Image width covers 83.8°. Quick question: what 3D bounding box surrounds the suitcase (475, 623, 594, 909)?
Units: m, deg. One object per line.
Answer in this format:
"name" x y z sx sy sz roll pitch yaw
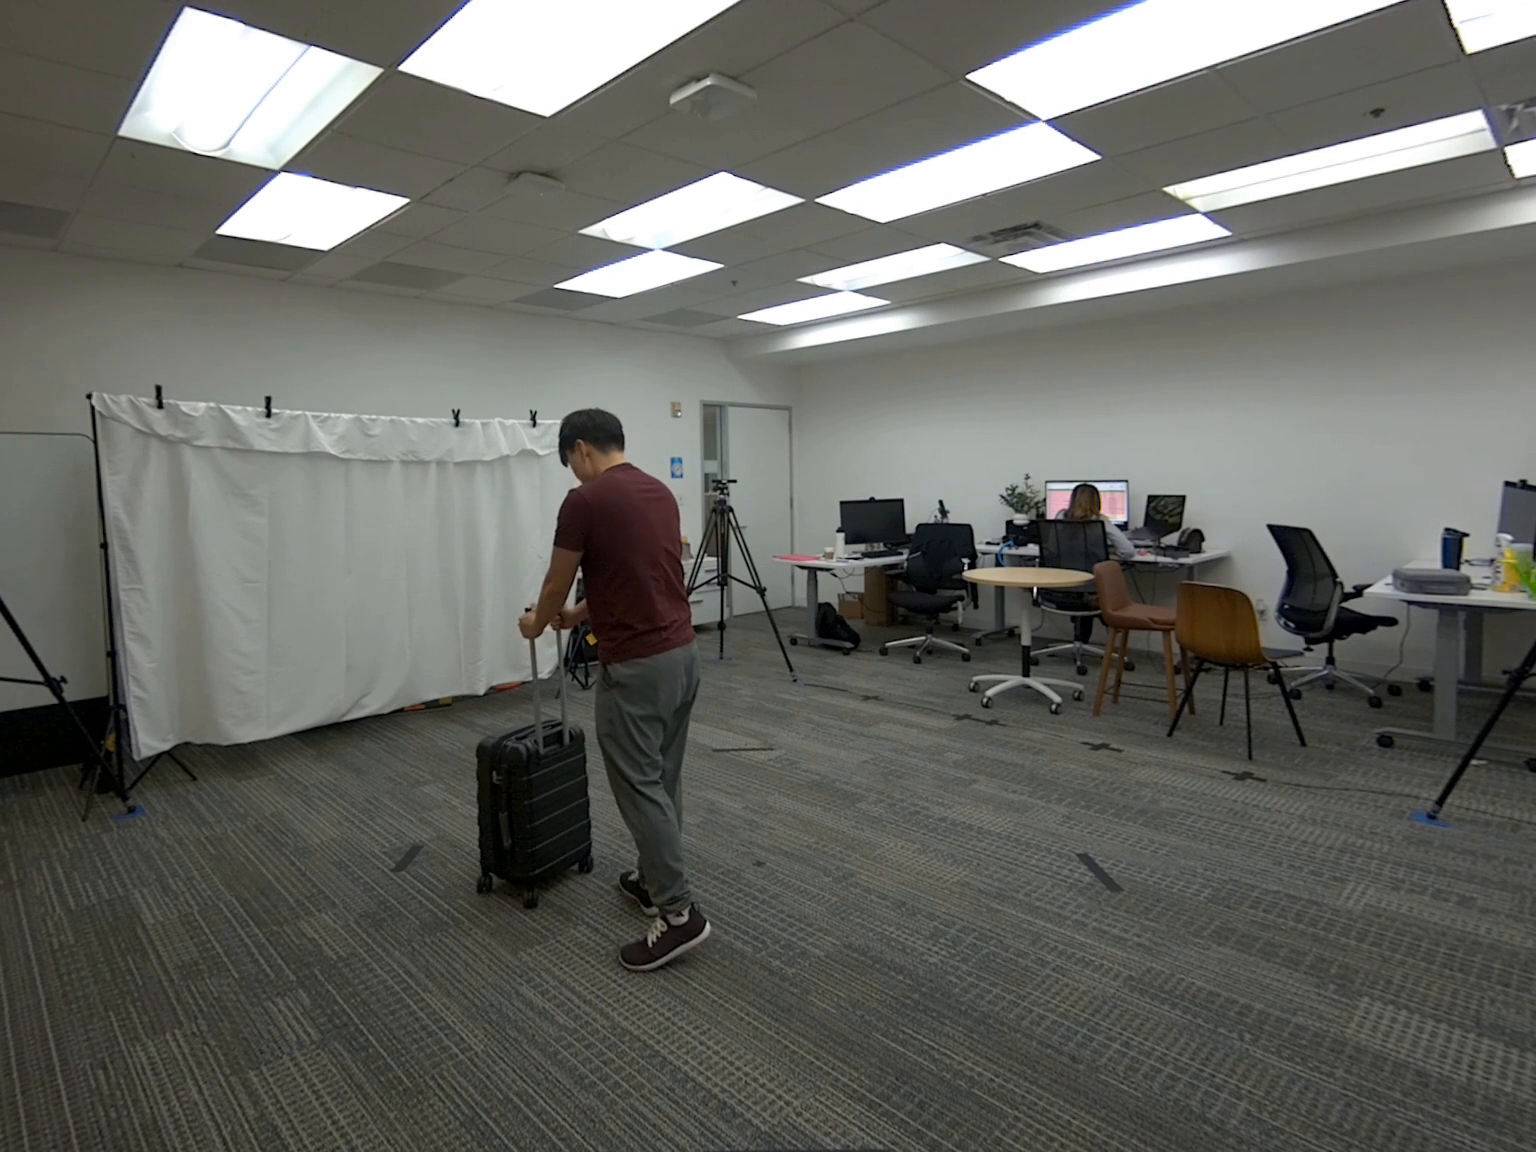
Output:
"suitcase" -0.840 0.596 3.014 0.263 0.978 0.375 -3 1 30
